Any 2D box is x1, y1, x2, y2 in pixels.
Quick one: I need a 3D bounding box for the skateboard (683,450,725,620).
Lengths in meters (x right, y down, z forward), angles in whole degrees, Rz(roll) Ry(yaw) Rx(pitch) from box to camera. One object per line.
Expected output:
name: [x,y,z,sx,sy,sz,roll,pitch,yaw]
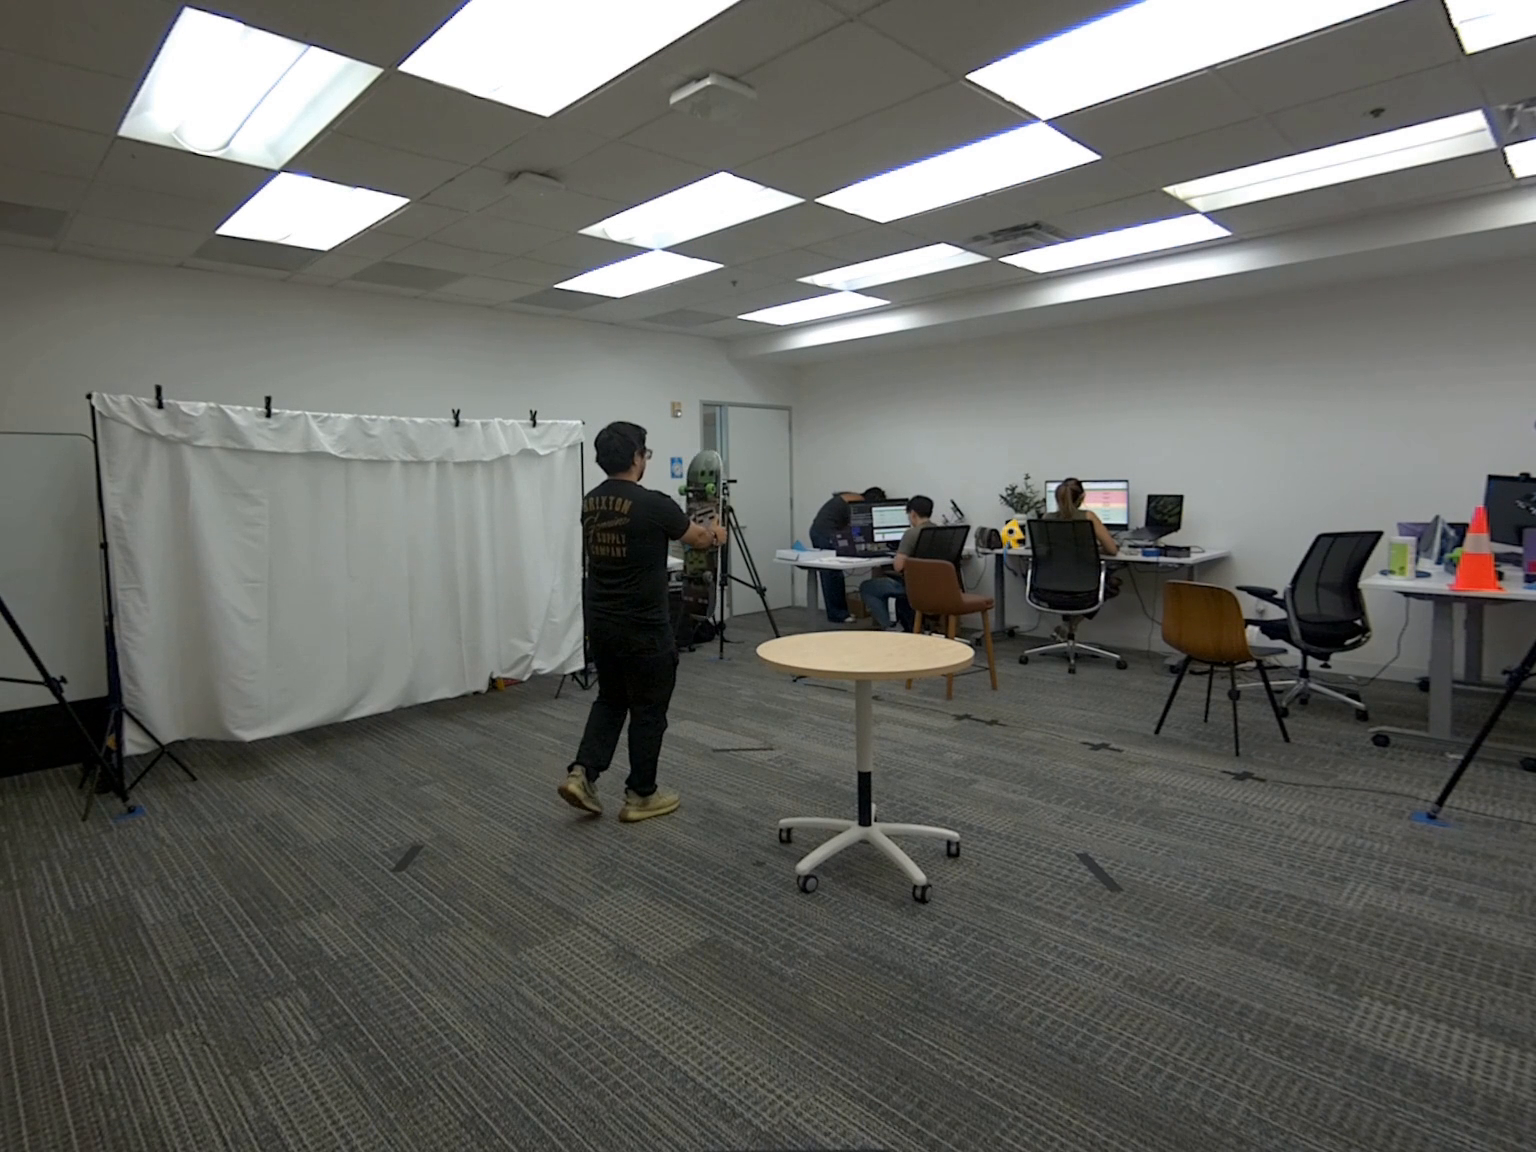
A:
skateboard: [-0.320,-0.190,3.922,0.198,0.789,0.107,-2,-6,30]
